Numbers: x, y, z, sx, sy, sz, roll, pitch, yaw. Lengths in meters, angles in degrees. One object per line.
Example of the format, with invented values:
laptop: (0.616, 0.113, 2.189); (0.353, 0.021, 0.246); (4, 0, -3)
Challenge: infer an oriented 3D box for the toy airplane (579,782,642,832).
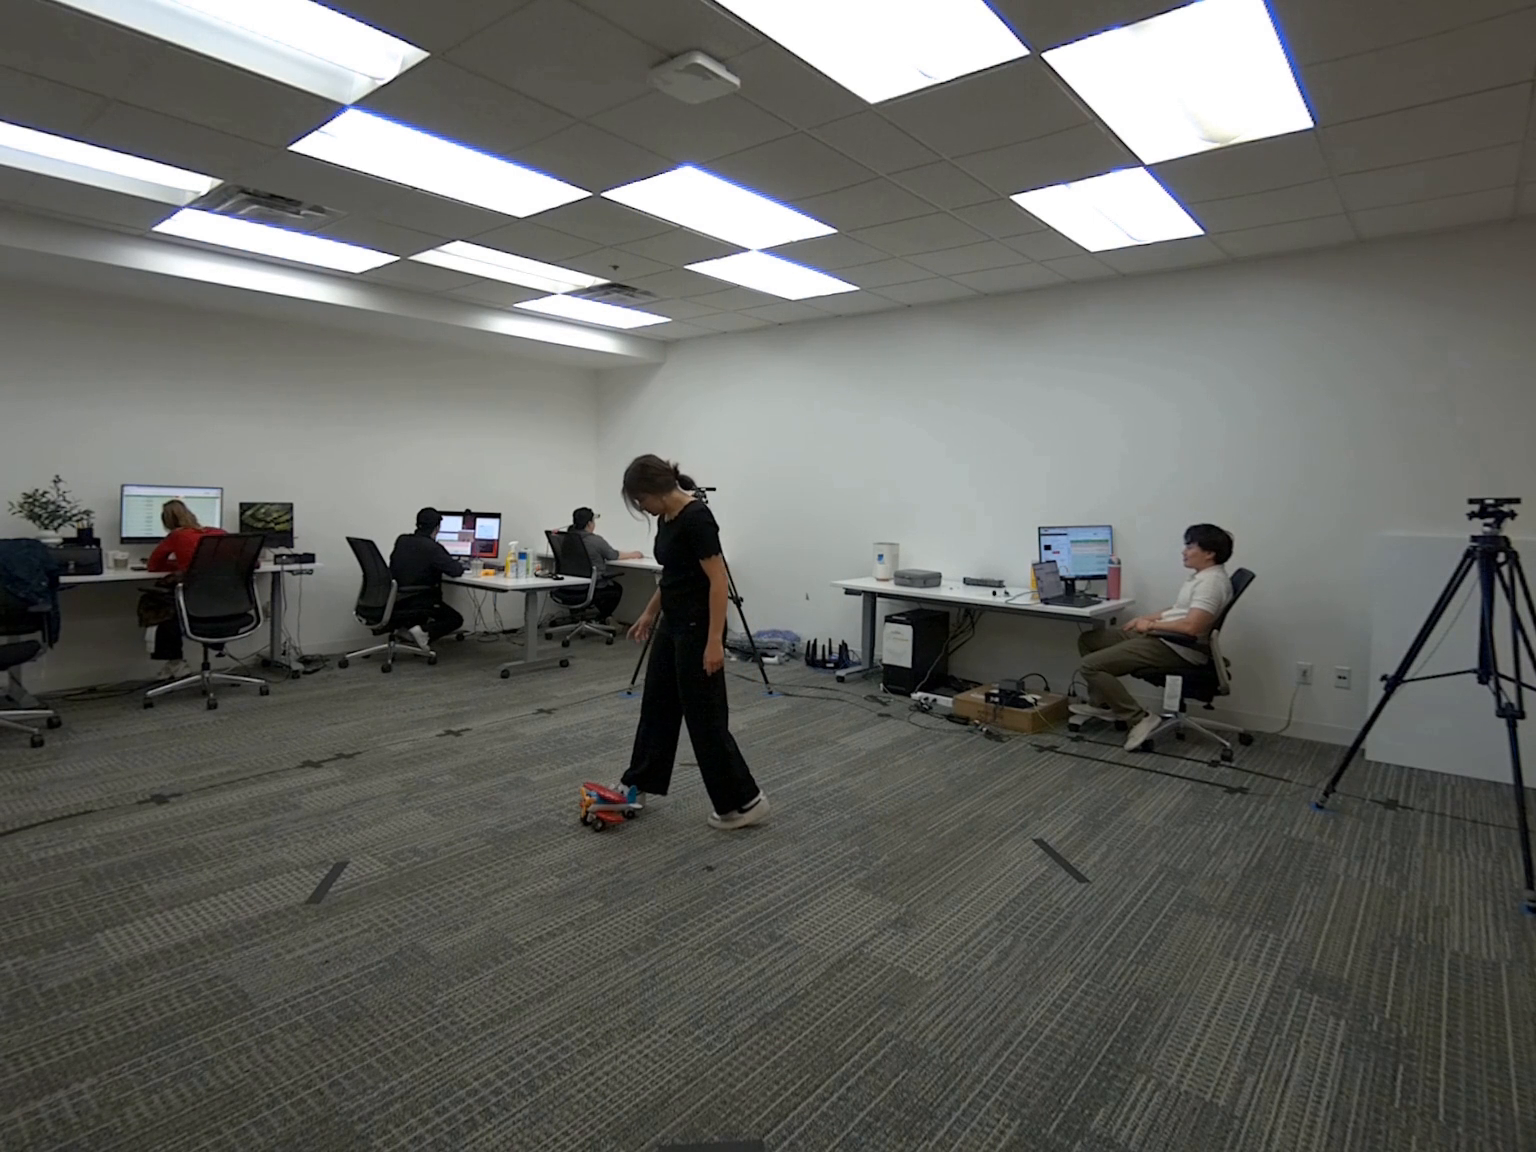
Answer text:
toy airplane: (-0.679, 0.942, 3.534); (0.256, 0.156, 0.255); (3, 6, 19)
